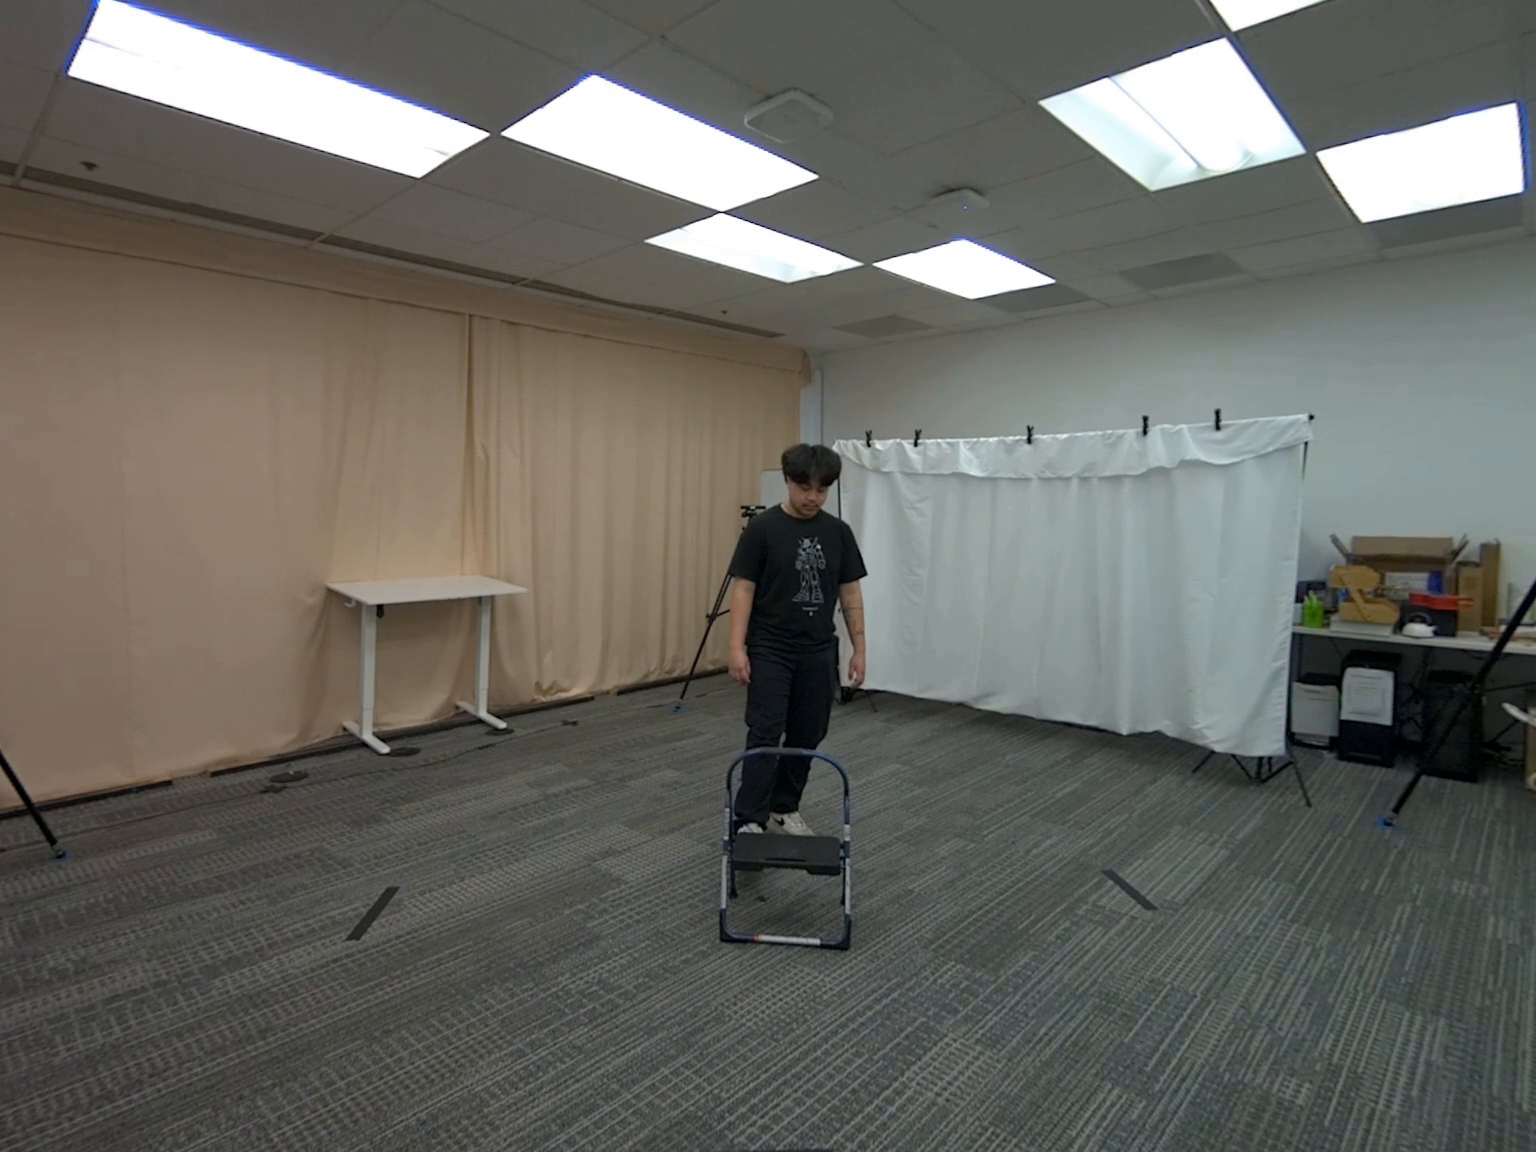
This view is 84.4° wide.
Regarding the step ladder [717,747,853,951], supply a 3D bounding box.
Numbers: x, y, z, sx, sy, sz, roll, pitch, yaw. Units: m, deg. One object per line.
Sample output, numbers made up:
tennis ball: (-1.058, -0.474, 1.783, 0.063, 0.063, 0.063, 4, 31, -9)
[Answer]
step ladder: (0.063, 0.856, 2.812, 0.434, 0.605, 0.347, 1, 3, 6)
